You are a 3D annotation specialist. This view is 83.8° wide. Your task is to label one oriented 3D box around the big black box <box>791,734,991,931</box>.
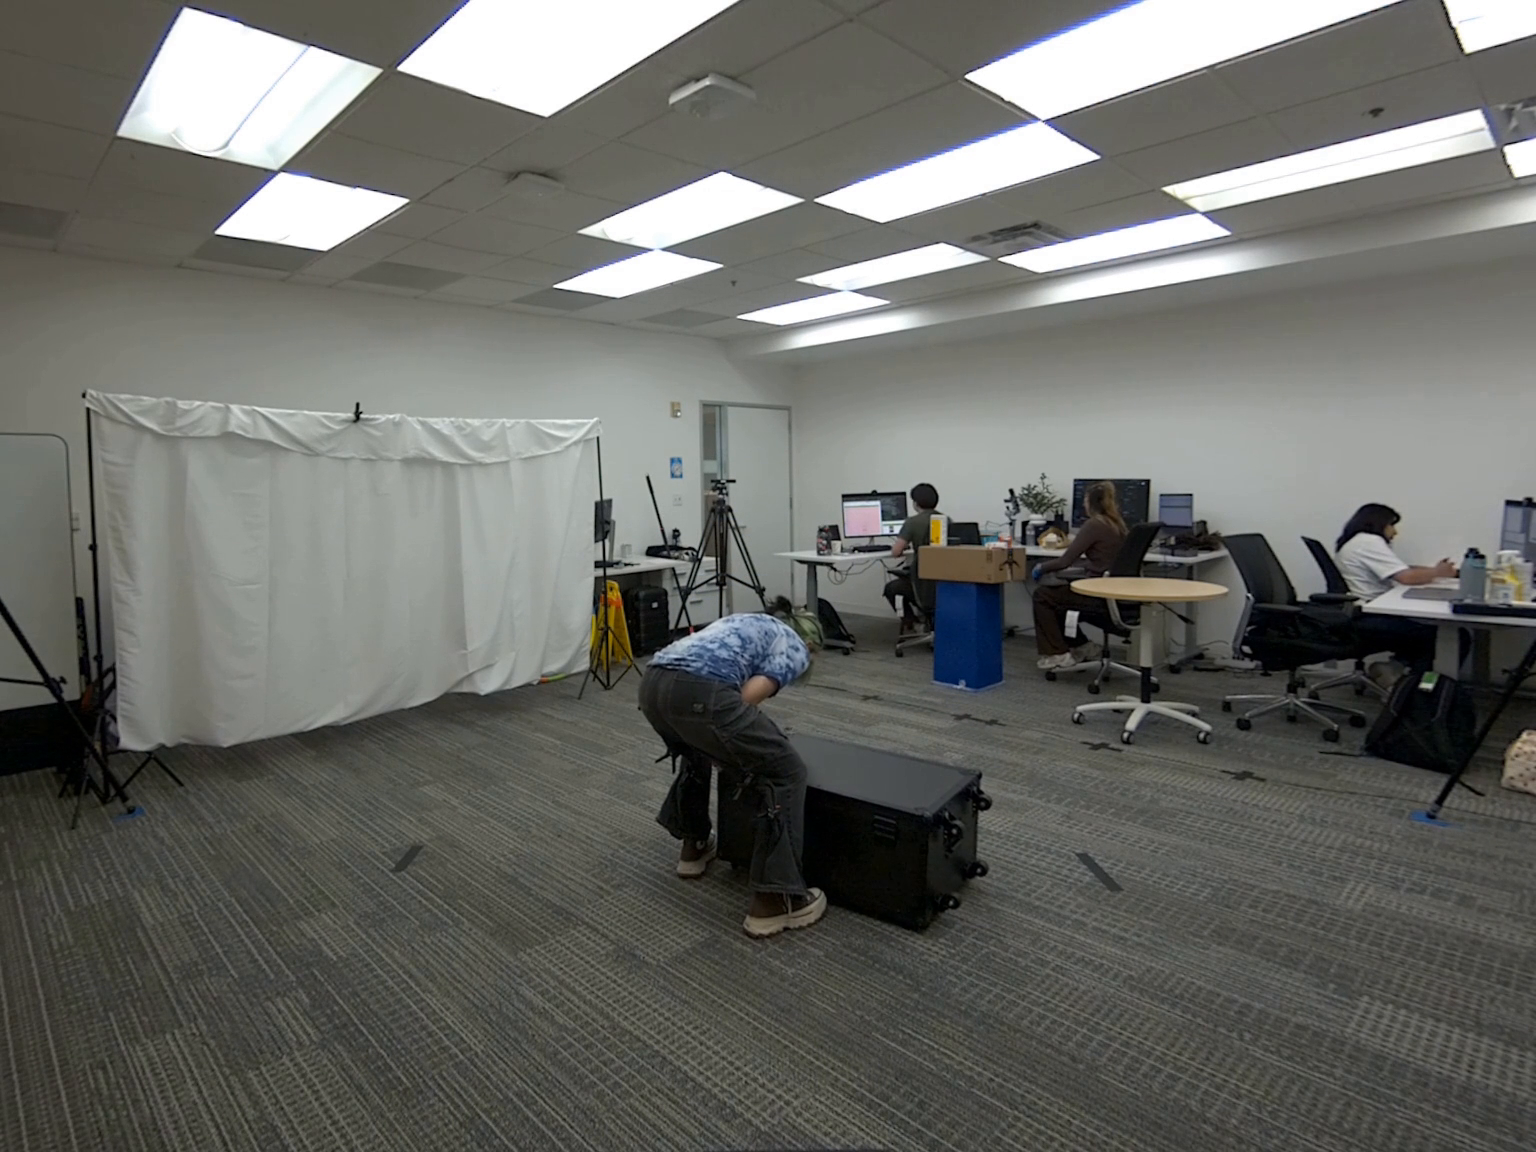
[{"bbox_3d":[0.305,0.854,2.980,0.886,0.394,0.509,4,7,34],"label":"big black box"}]
